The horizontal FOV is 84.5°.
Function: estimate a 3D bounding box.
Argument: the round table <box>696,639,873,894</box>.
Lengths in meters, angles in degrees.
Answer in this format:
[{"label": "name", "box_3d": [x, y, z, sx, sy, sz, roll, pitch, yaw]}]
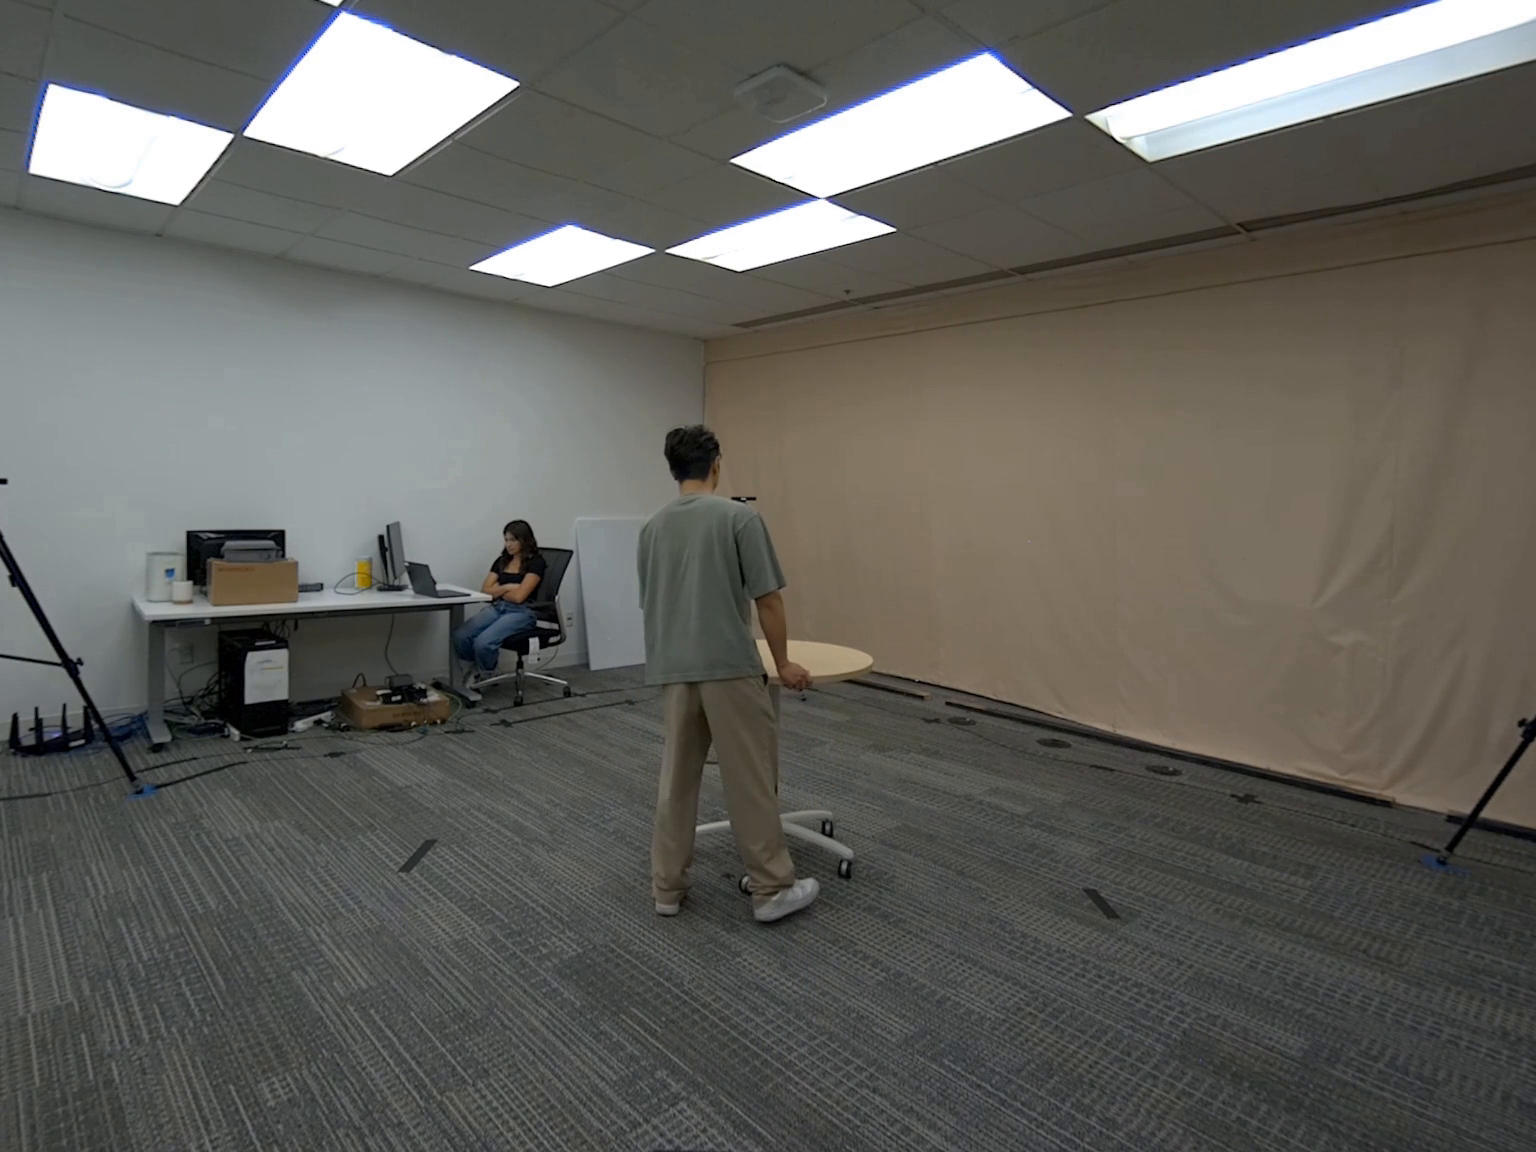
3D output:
[{"label": "round table", "box_3d": [0.023, 0.700, 3.302, 0.784, 0.784, 0.788, 1, 4, -1]}]
